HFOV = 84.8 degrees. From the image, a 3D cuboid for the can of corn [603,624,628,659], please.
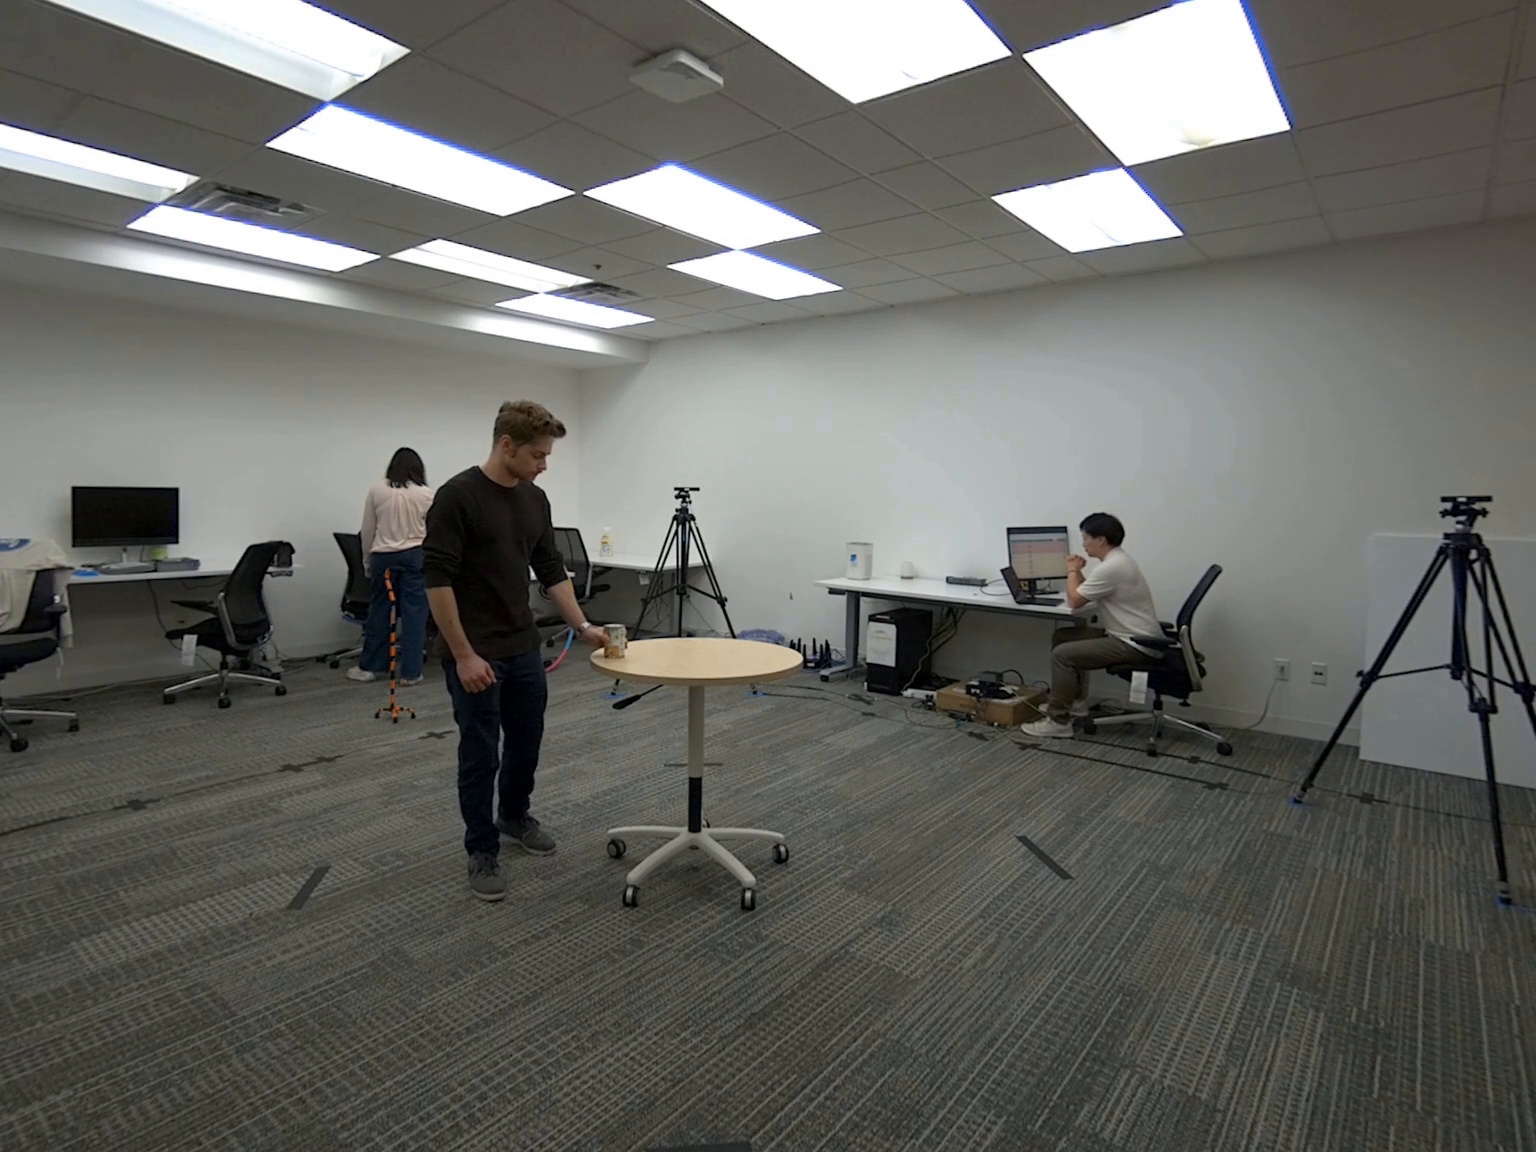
[{"bbox_3d":[-0.563,0.234,3.026,0.074,0.111,0.074,-4,3,-2],"label":"can of corn"}]
